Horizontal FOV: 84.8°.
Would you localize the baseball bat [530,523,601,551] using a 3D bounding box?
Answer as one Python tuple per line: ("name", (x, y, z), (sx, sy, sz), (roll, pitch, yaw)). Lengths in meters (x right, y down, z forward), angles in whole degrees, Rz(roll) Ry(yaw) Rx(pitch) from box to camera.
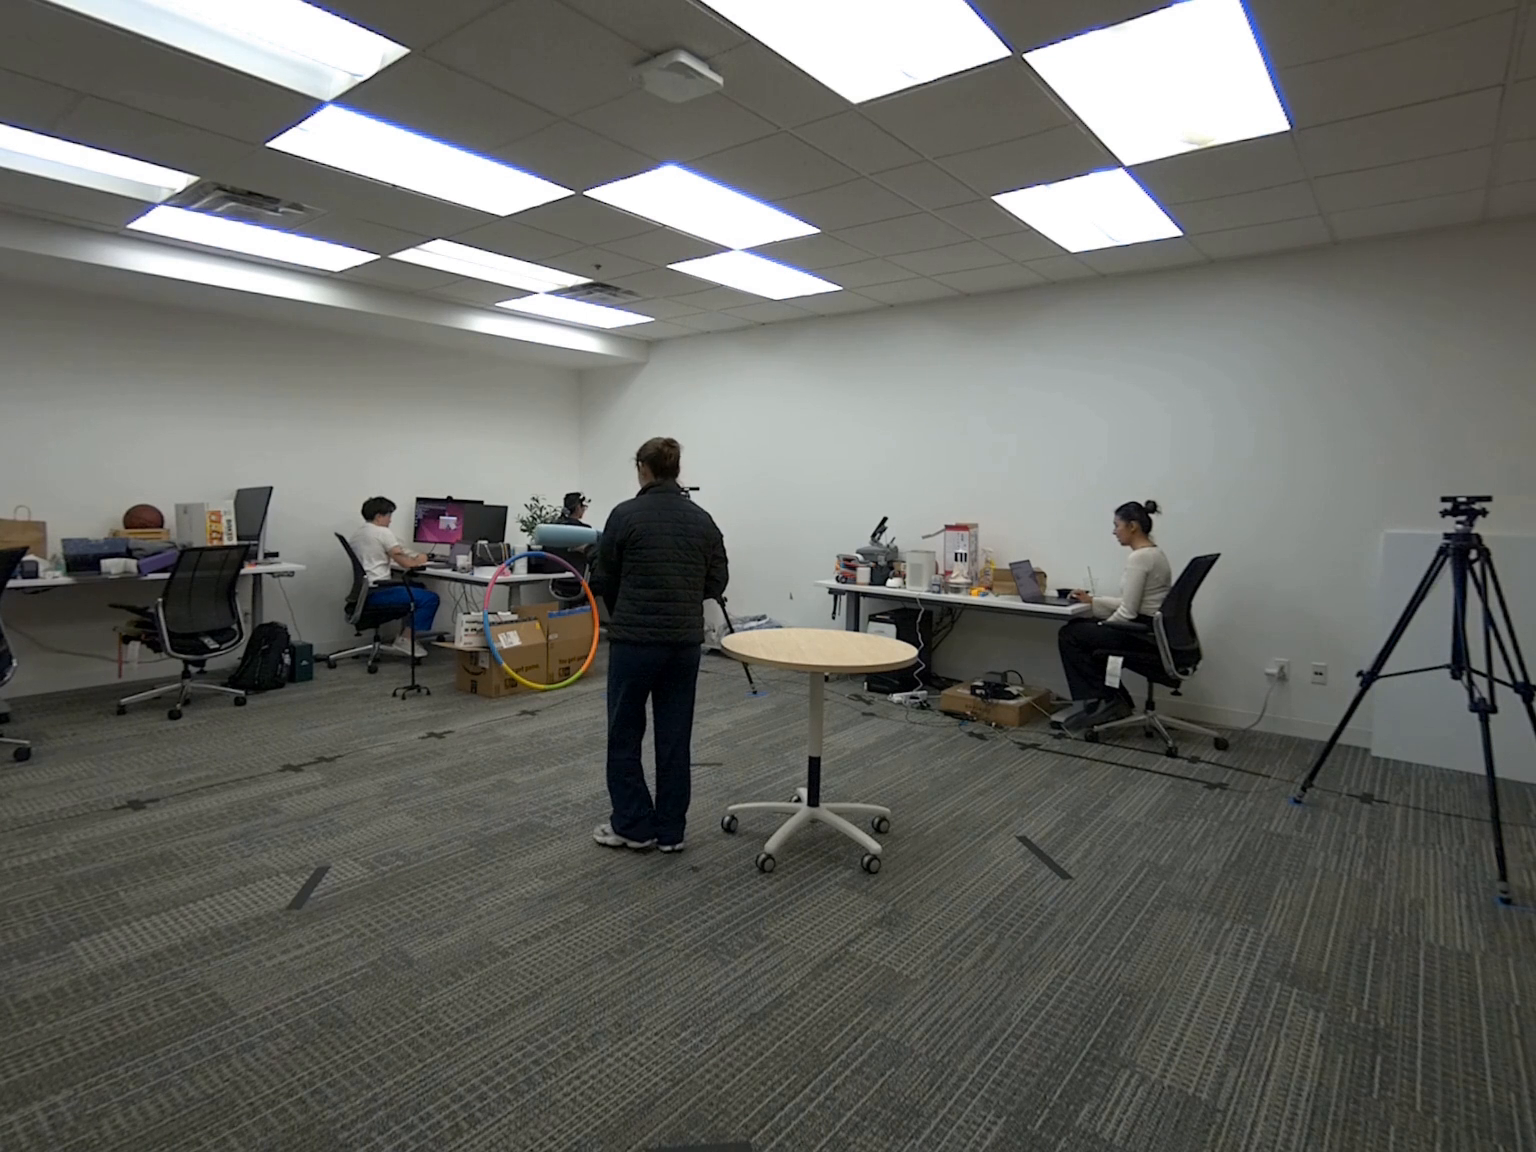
("baseball bat", (-0.692, -0.164, 3.562), (0.529, 0.089, 0.091), (2, 3, -27))
